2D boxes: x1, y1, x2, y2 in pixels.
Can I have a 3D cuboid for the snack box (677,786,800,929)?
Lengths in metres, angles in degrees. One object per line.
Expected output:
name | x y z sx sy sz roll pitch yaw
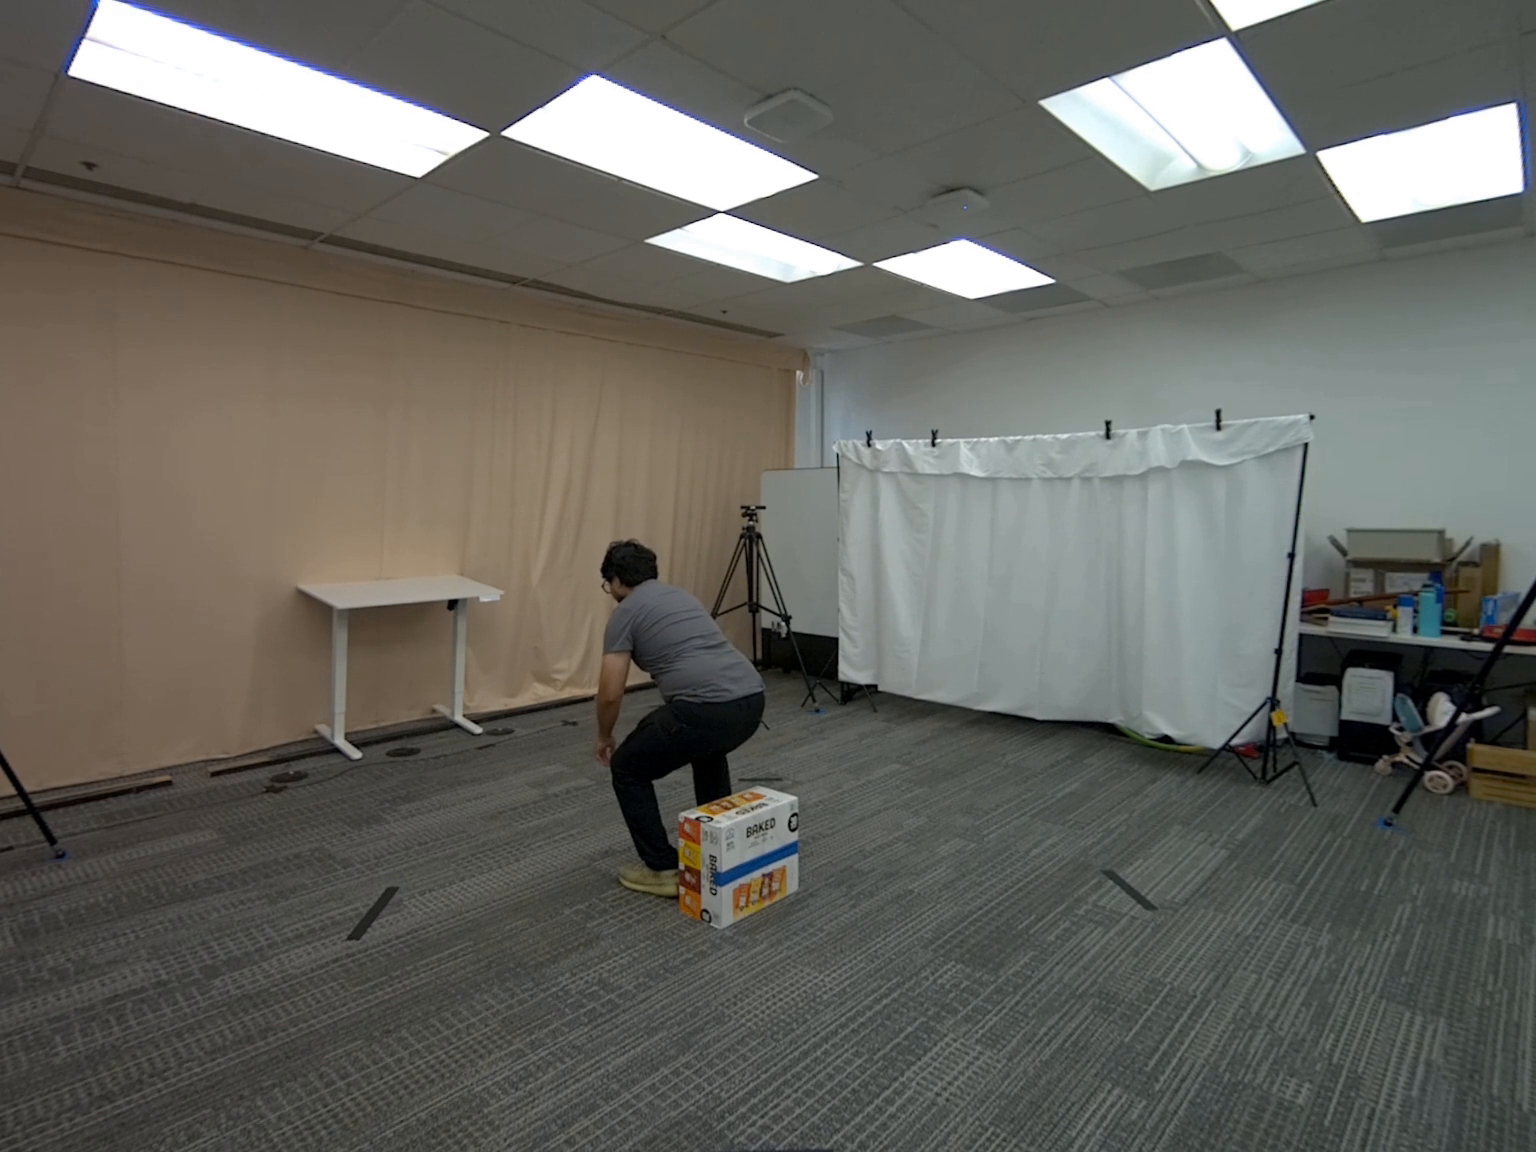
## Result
snack box | -0.092 0.976 2.966 0.212 0.340 0.393 3 4 43
